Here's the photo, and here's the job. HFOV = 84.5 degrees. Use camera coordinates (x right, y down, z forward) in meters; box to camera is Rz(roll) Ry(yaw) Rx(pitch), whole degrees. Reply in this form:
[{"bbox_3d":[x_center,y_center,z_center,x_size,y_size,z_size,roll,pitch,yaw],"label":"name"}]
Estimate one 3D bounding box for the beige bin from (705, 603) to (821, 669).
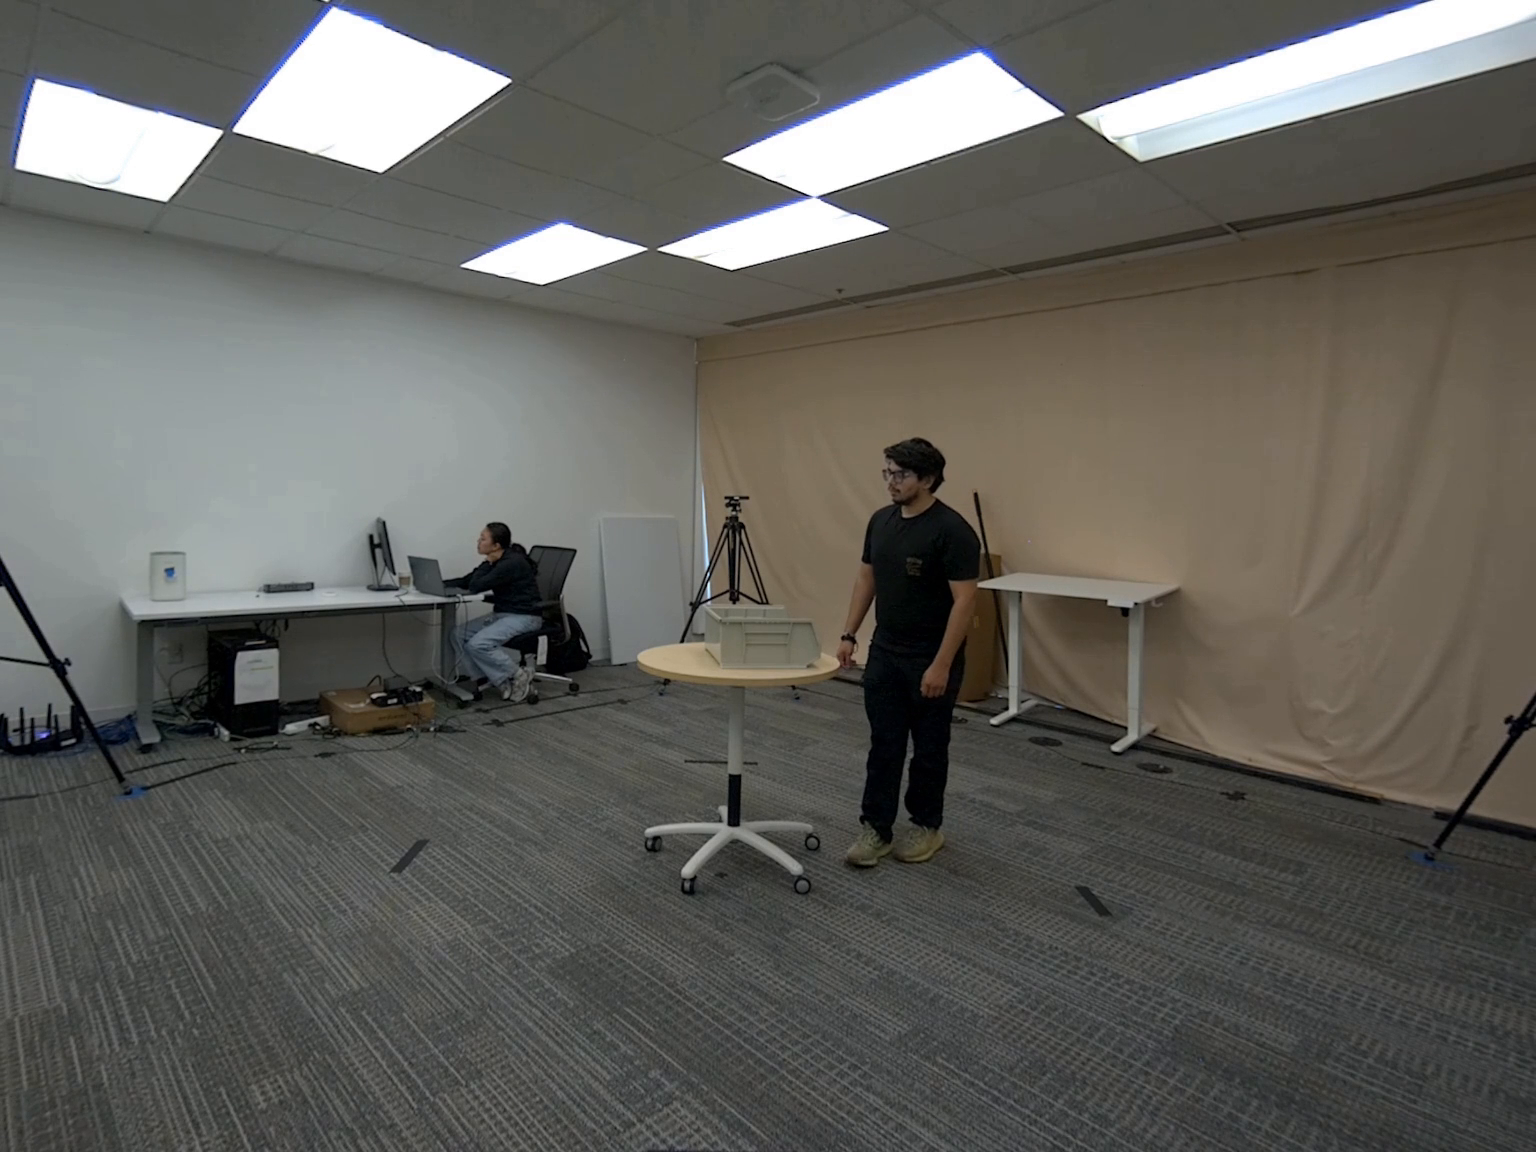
[{"bbox_3d":[-0.041,0.222,3.197,0.374,0.188,0.428,0,6,-12],"label":"beige bin"}]
